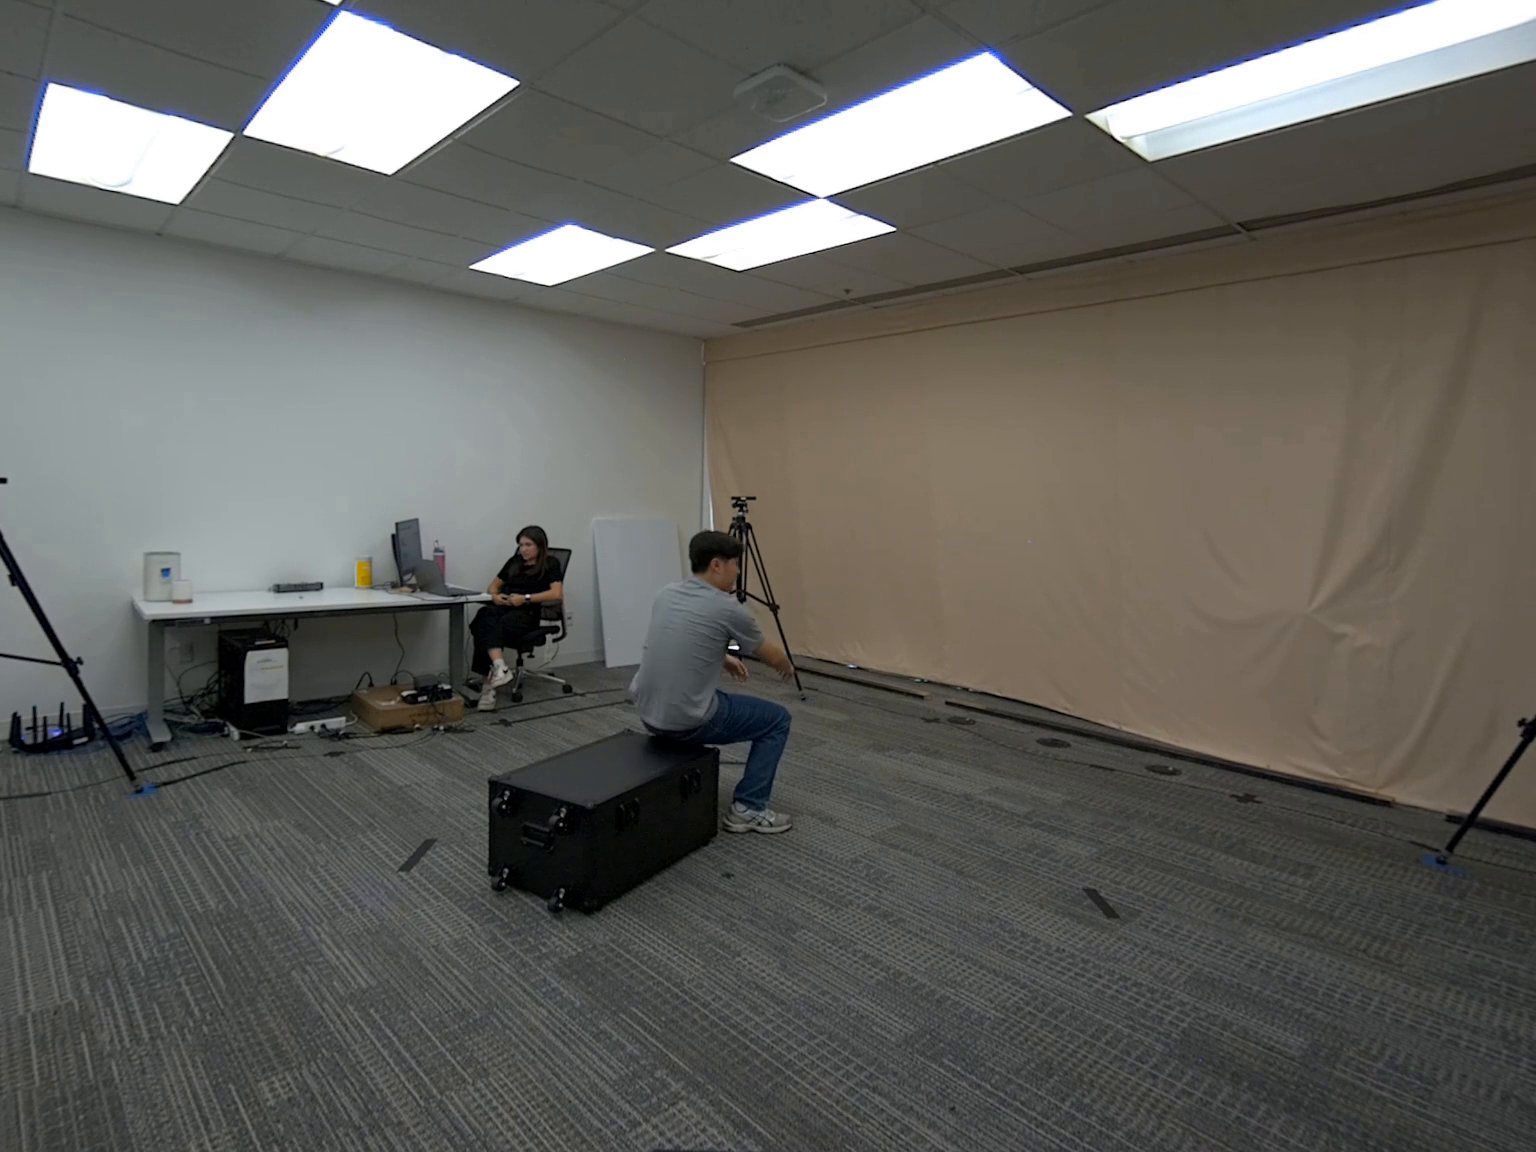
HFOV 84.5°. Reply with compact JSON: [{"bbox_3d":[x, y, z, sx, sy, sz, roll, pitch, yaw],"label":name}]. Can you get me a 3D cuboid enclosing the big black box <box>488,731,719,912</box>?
[{"bbox_3d":[-0.624,0.900,3.177,0.533,0.395,0.845,5,6,30],"label":"big black box"}]
